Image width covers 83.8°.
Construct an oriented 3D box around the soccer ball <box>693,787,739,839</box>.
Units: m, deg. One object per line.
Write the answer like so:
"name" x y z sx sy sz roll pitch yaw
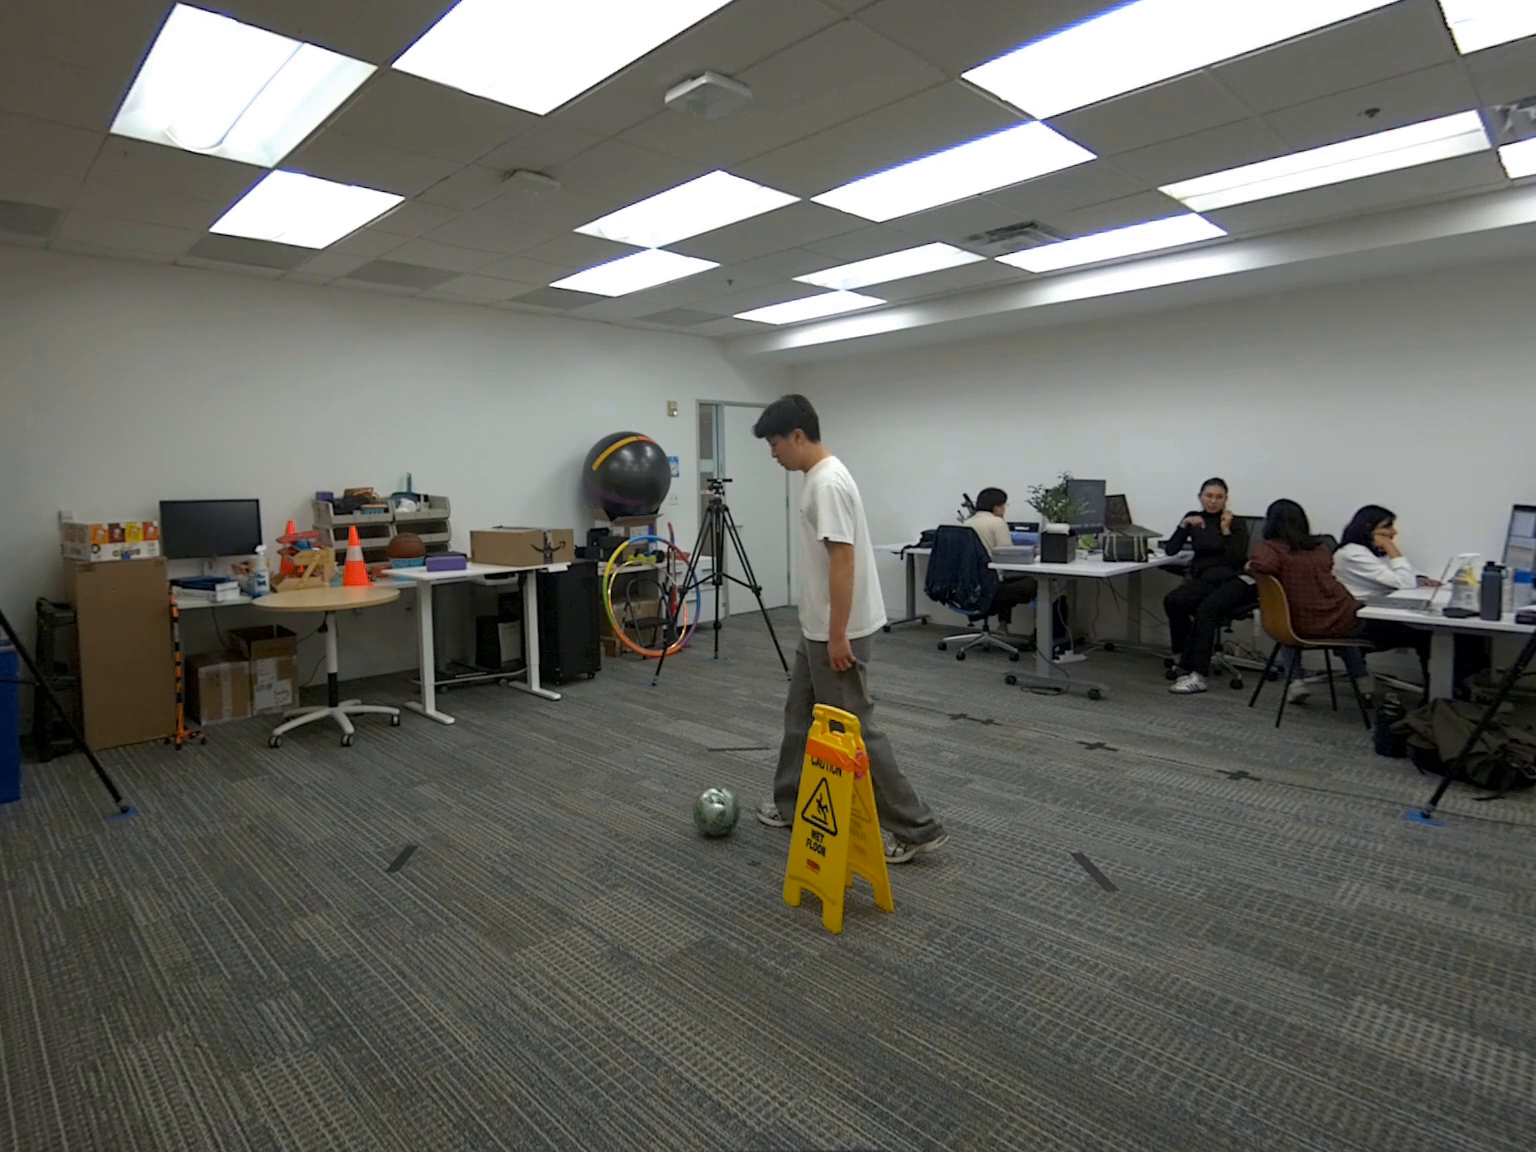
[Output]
"soccer ball" -0.198 0.924 3.364 0.187 0.187 0.188 -1 5 -2
